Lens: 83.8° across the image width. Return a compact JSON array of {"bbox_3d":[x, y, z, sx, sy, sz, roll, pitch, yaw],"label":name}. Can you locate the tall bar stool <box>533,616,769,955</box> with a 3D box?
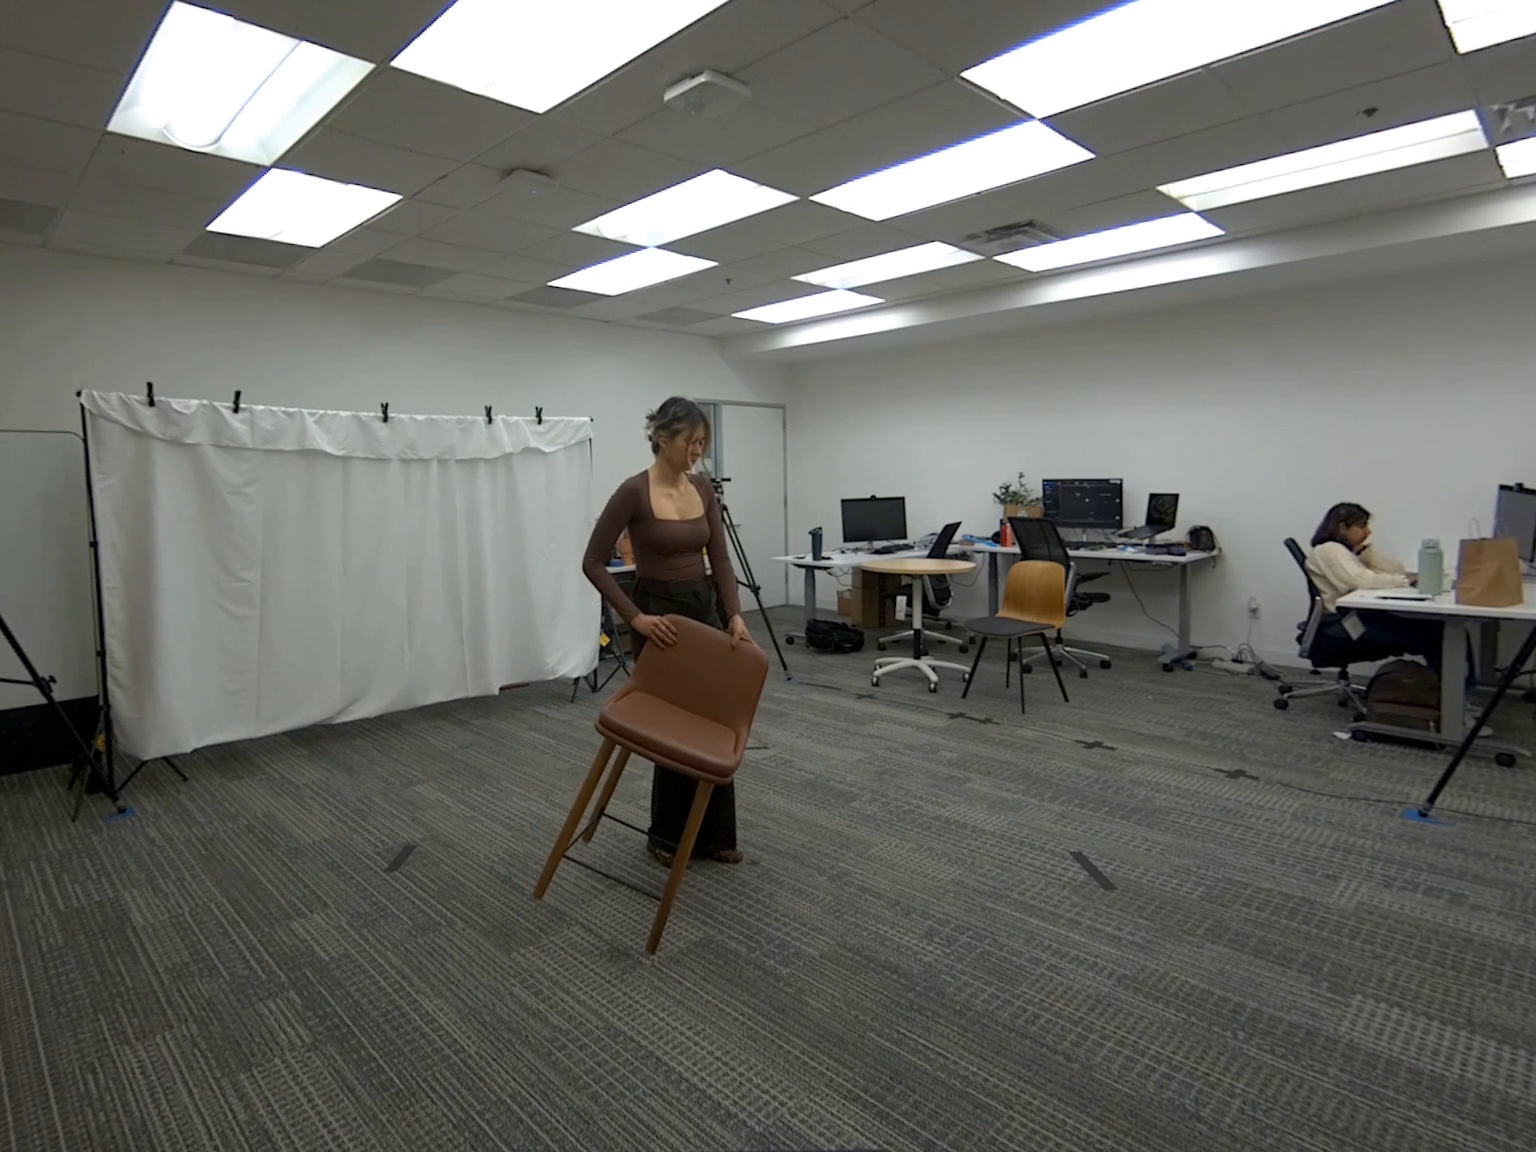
[{"bbox_3d":[-0.337,0.623,2.719,0.461,0.888,0.464,22,4,6],"label":"tall bar stool"}]
